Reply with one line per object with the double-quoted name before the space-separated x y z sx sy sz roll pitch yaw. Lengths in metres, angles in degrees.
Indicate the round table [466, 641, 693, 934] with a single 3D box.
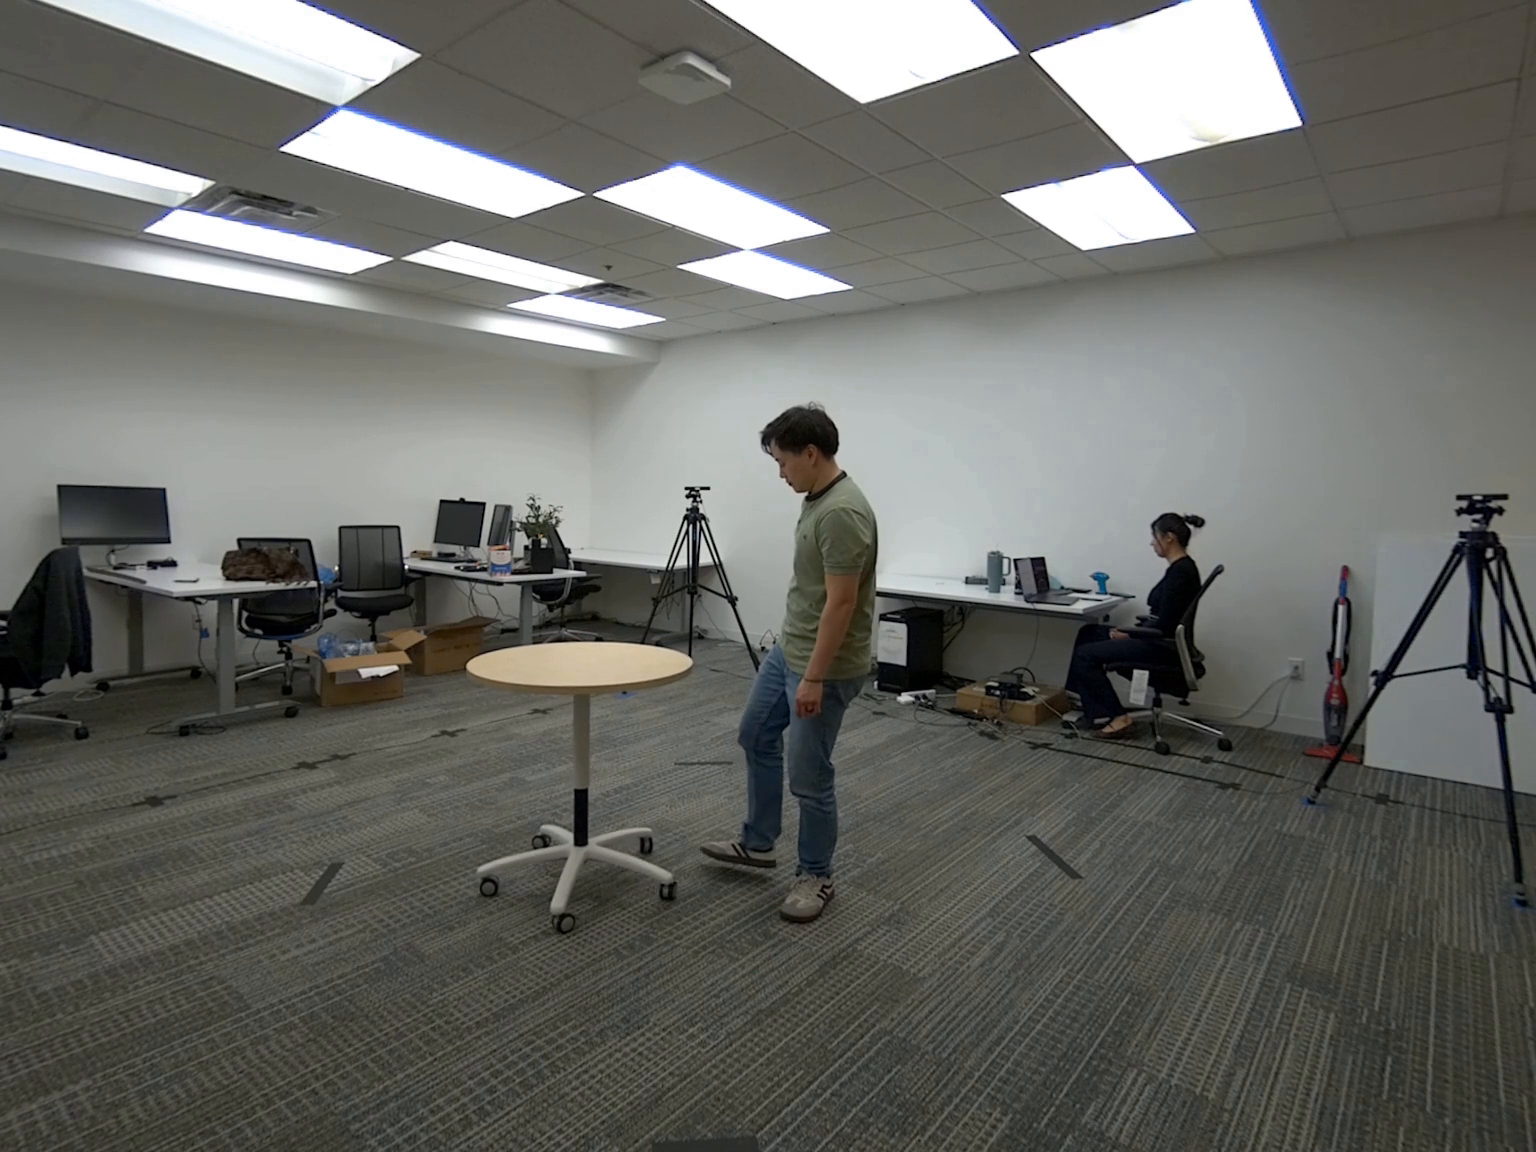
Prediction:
"round table" -0.658 0.685 2.957 0.763 0.792 0.767 1 4 -2
